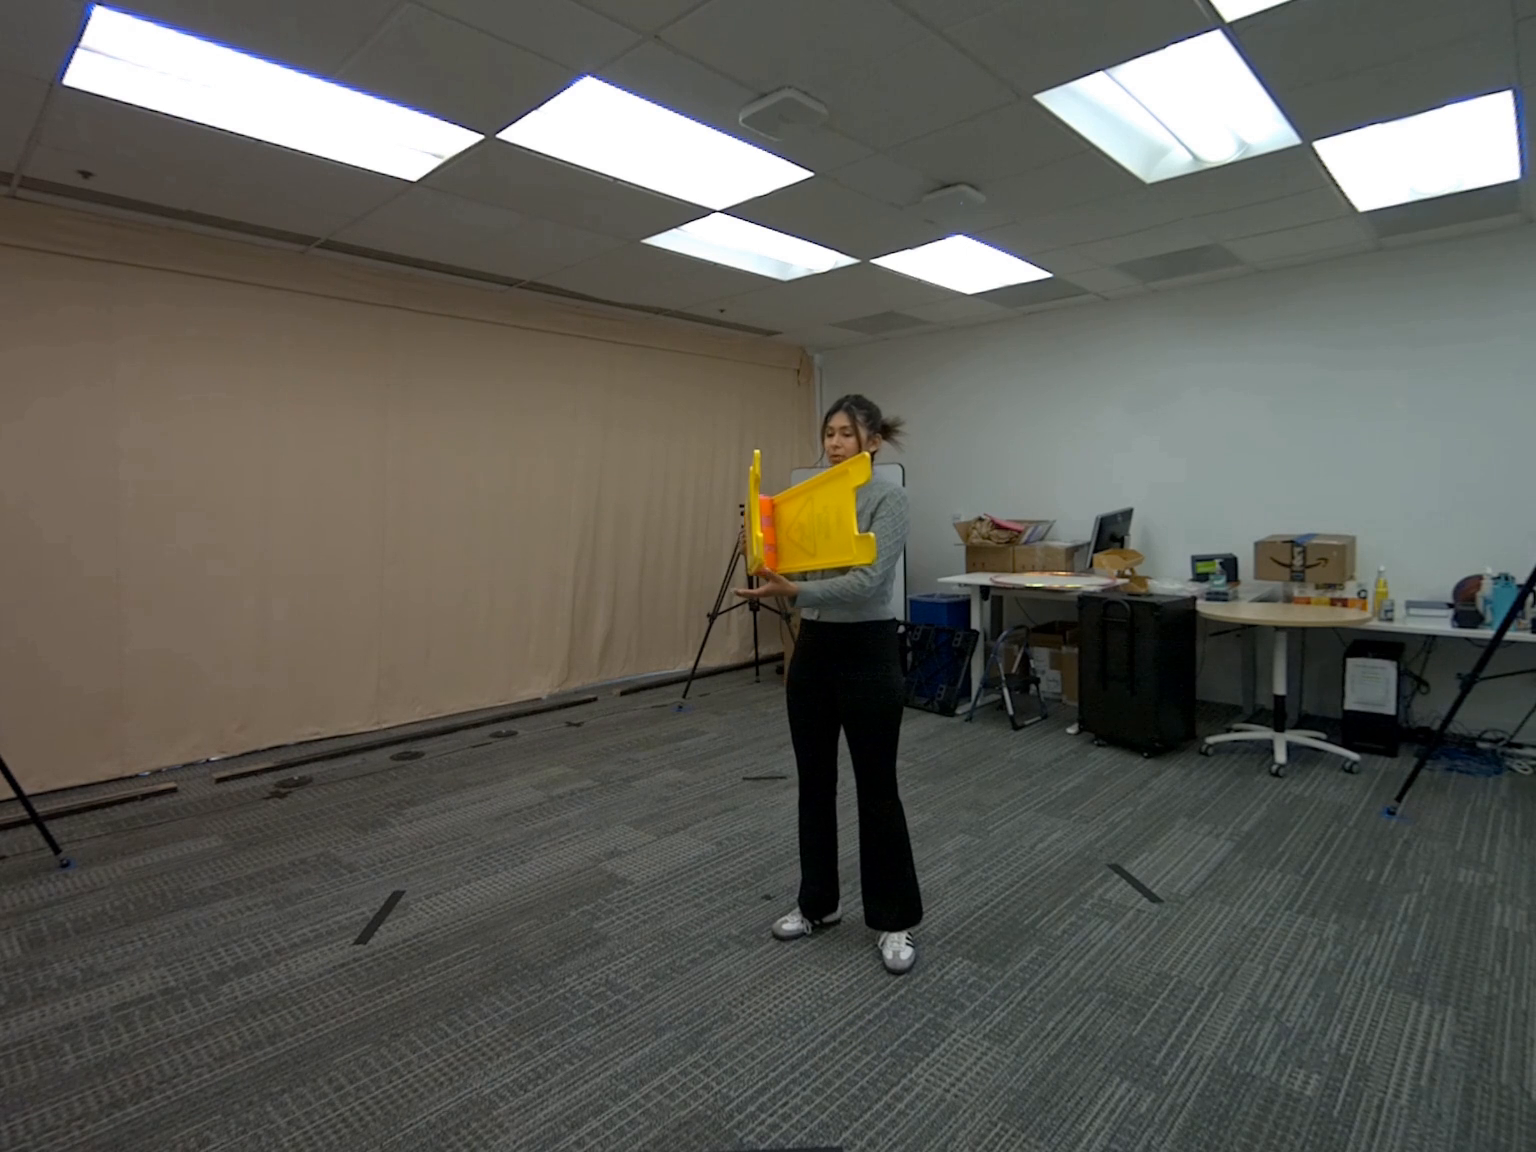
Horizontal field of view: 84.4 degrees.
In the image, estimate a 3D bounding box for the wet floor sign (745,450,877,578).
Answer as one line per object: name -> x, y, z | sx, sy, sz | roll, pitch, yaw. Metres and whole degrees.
wet floor sign -> 0.030, -0.133, 2.347 | 0.285, 0.283, 0.653 | 1, -7, -16
